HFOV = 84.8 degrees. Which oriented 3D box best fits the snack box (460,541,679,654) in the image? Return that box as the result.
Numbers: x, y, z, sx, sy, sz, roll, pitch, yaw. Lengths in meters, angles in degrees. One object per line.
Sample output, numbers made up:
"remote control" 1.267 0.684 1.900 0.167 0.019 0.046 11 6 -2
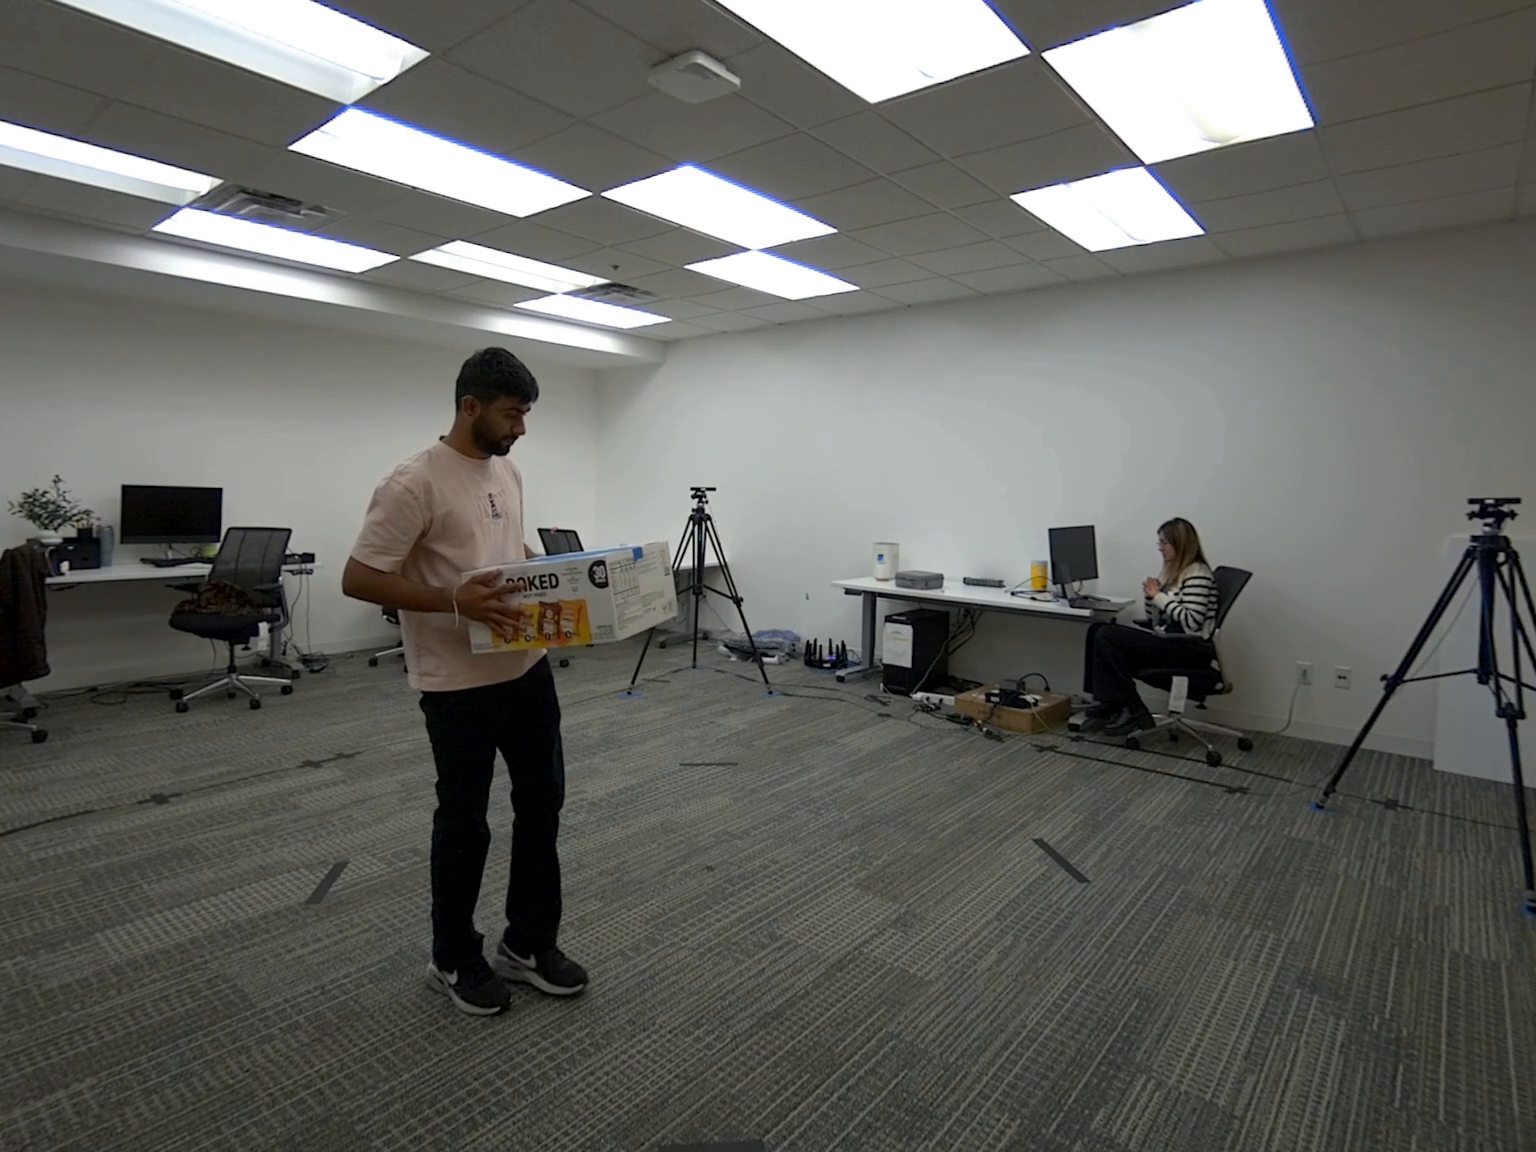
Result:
"snack box" -0.499 0.047 2.146 0.413 0.205 0.335 -6 5 21
